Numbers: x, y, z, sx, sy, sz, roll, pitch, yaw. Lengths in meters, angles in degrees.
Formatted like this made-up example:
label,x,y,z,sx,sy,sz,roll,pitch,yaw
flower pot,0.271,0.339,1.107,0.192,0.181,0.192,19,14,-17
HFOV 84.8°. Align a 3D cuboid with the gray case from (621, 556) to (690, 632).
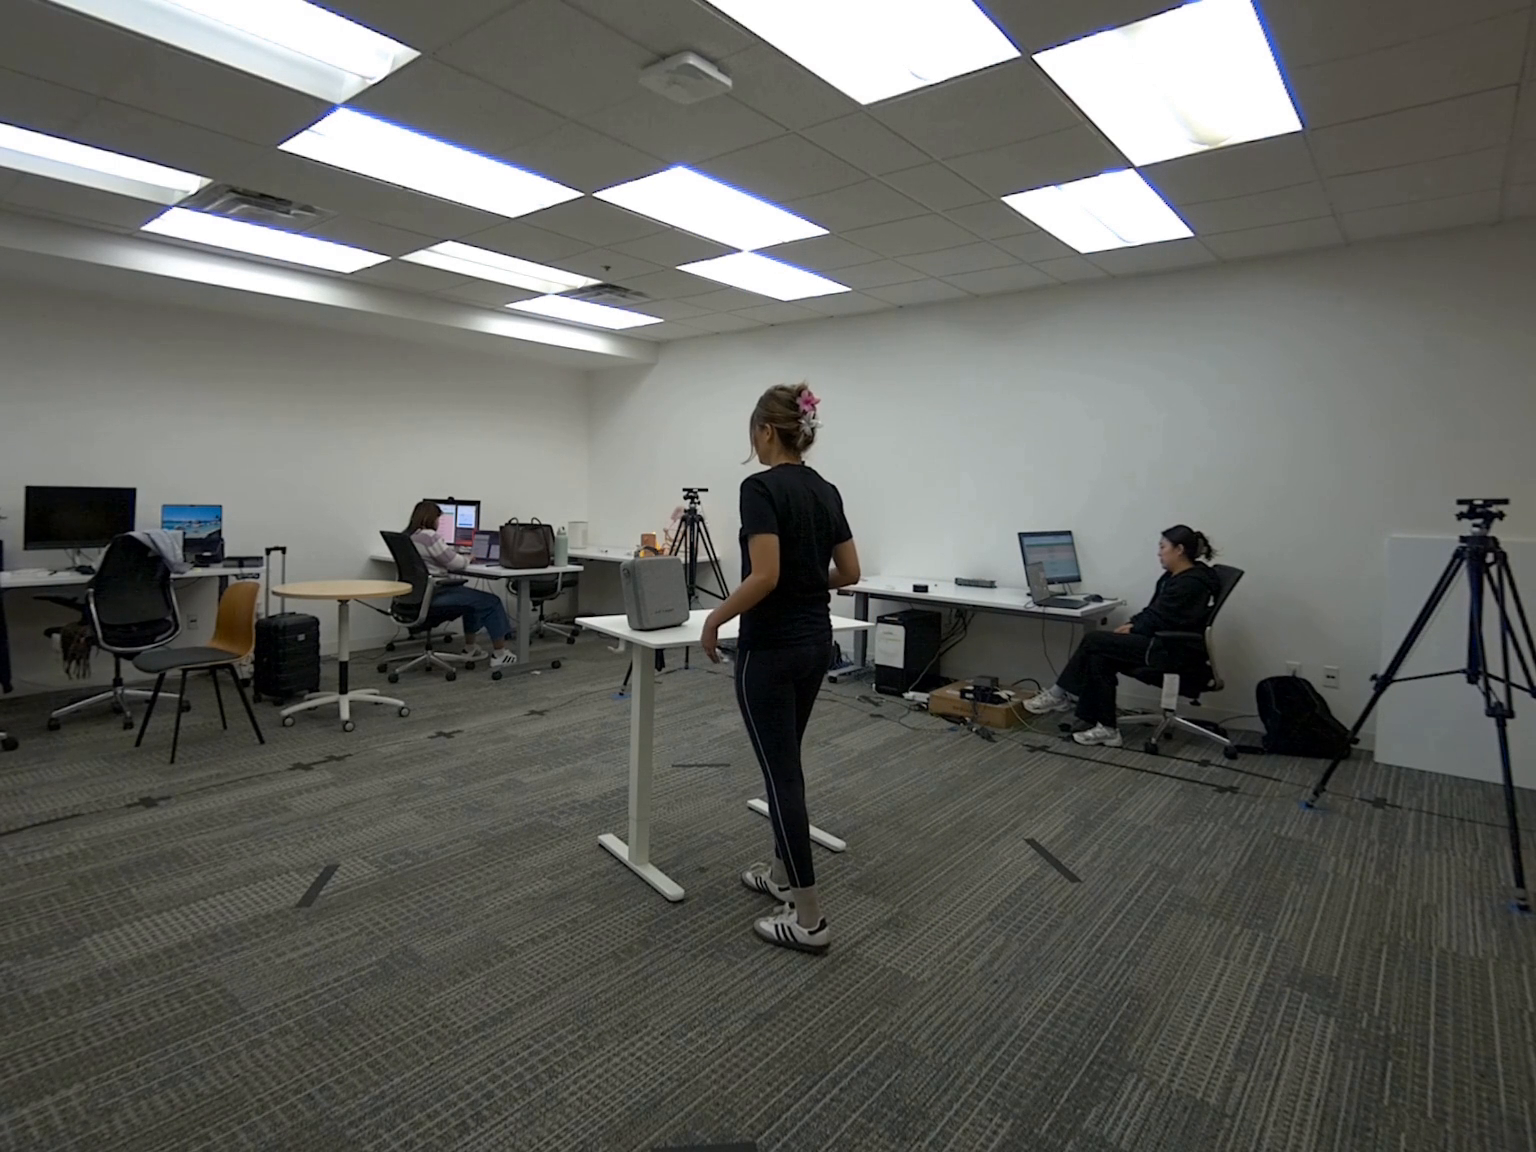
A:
label,x,y,z,sx,sy,sz,roll,pitch,yaw
gray case,-0.419,0.052,3.079,0.107,0.262,0.249,-13,-6,35
